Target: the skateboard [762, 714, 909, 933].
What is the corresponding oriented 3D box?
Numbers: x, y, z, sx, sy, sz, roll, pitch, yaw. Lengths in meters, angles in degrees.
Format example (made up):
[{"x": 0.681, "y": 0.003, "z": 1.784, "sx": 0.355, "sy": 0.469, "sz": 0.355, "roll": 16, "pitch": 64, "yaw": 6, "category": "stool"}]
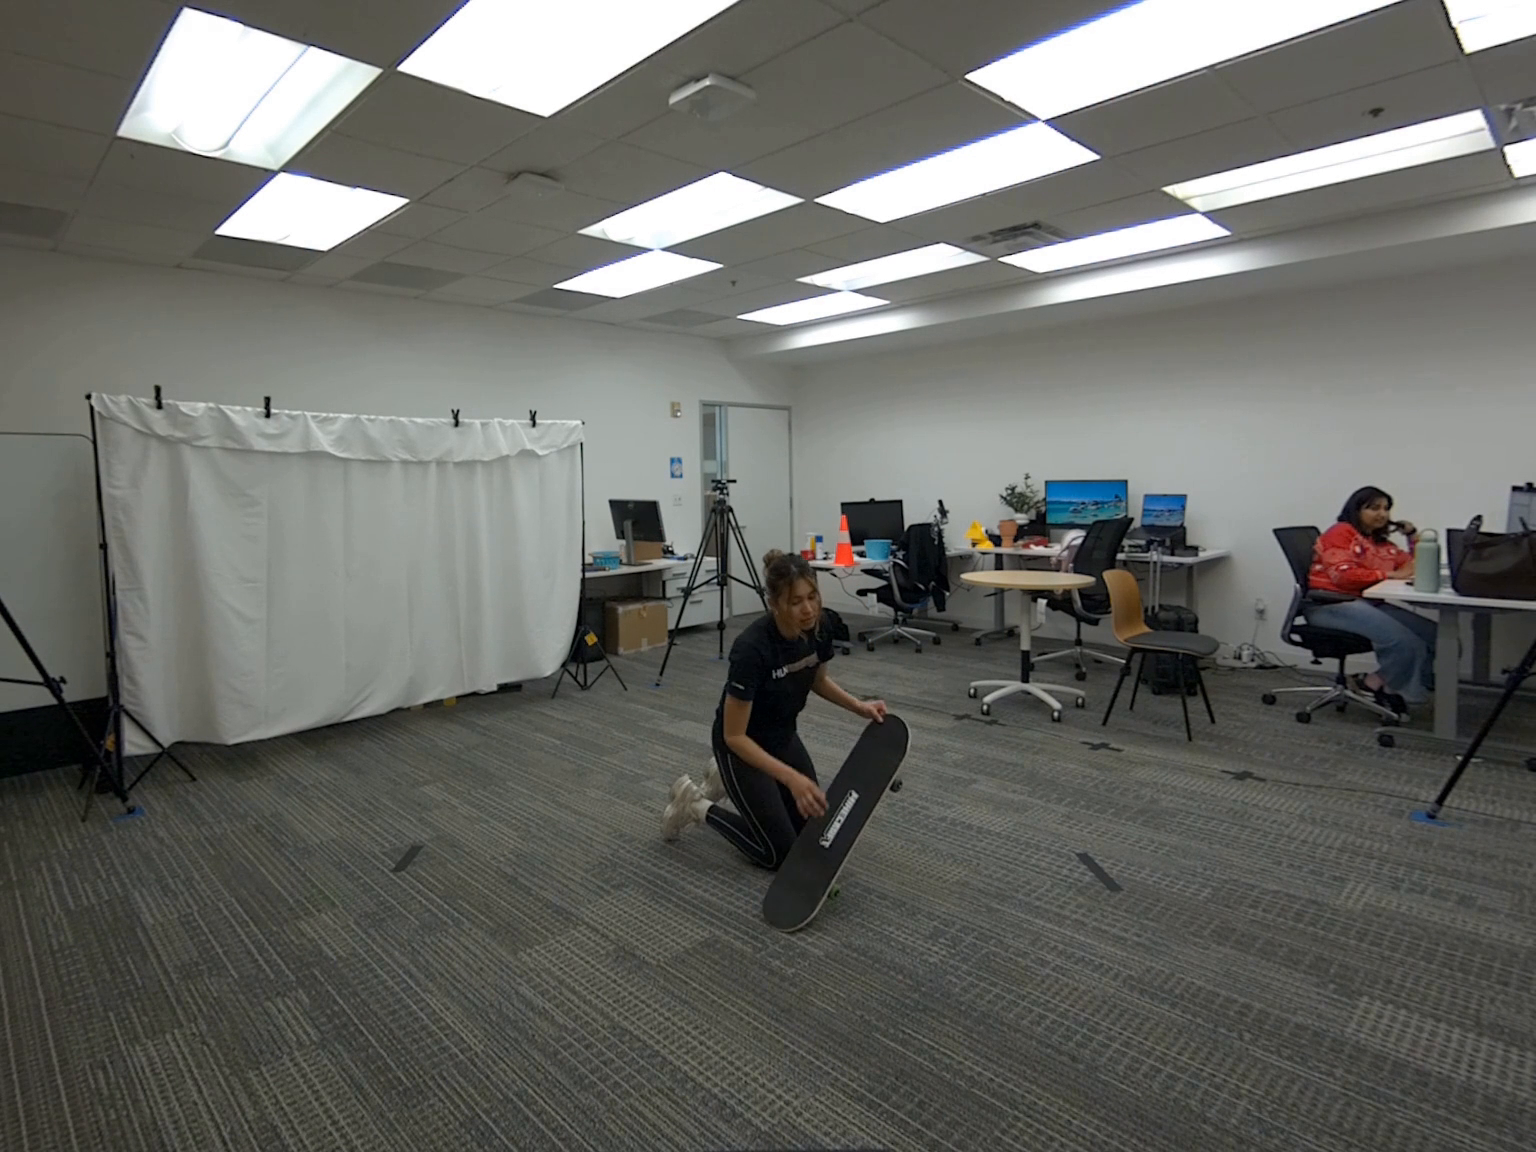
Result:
[{"x": 0.247, "y": 0.817, "z": 2.814, "sx": 0.200, "sy": 0.788, "sz": 0.106, "roll": 15, "pitch": -27, "yaw": 45, "category": "skateboard"}]
